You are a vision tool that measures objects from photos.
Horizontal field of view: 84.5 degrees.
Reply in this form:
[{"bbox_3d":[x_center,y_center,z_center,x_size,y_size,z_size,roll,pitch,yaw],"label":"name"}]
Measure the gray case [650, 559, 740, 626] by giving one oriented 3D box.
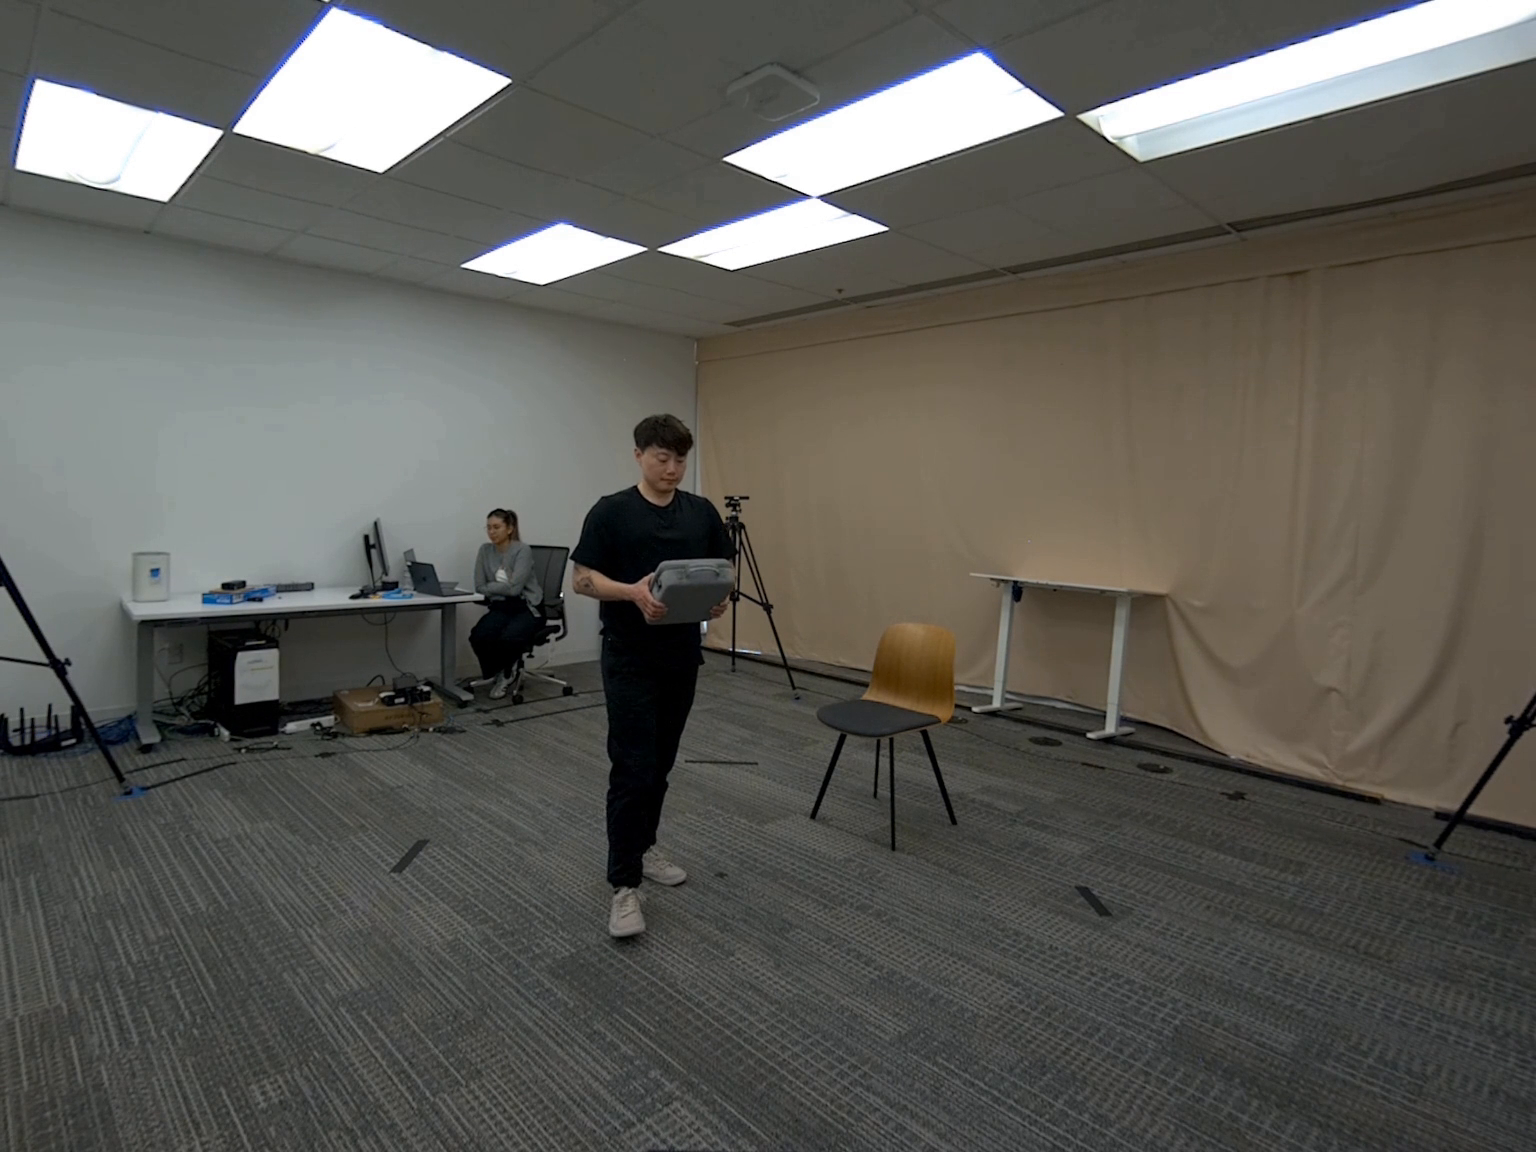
[{"bbox_3d":[-0.273,0.049,2.725,0.252,0.107,0.260,-3,-29,-31],"label":"gray case"}]
